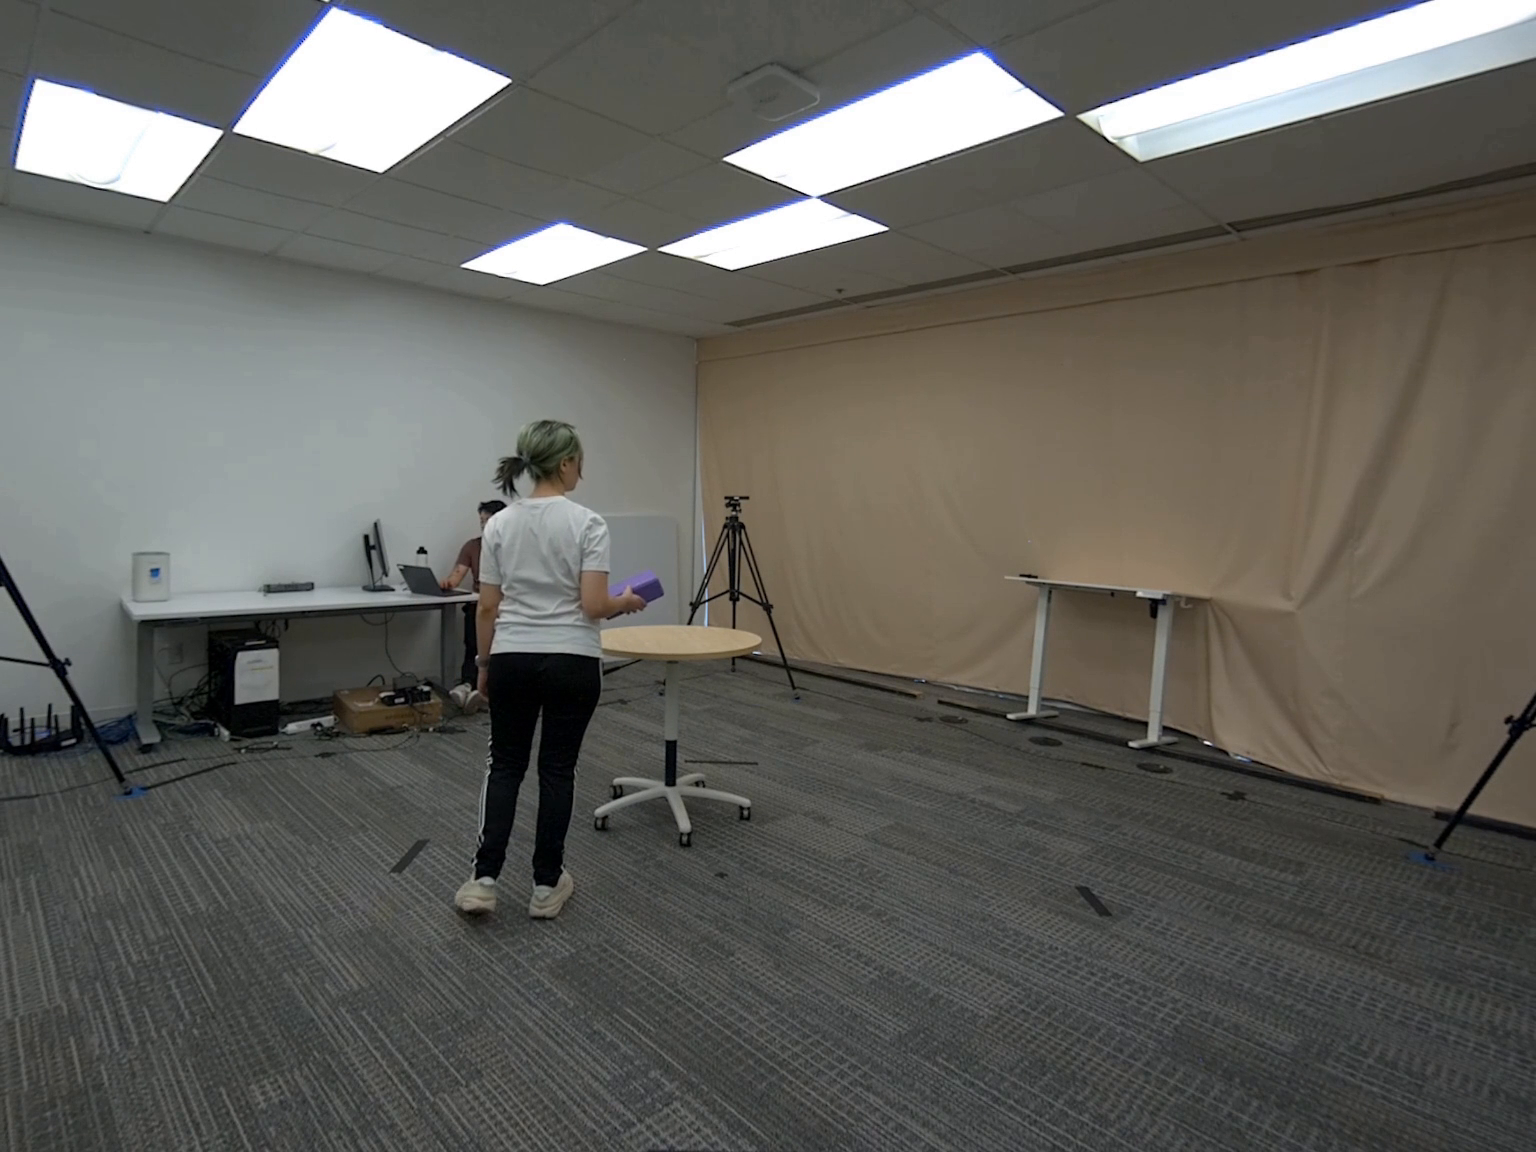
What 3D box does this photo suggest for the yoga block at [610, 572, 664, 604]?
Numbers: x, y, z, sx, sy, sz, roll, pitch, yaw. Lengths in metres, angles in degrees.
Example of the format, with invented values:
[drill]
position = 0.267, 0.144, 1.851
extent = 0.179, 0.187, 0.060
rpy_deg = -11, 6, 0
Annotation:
[yoga block]
position = -0.518, 0.068, 3.088
extent = 0.228, 0.075, 0.152
rpy_deg = -25, 21, -10
